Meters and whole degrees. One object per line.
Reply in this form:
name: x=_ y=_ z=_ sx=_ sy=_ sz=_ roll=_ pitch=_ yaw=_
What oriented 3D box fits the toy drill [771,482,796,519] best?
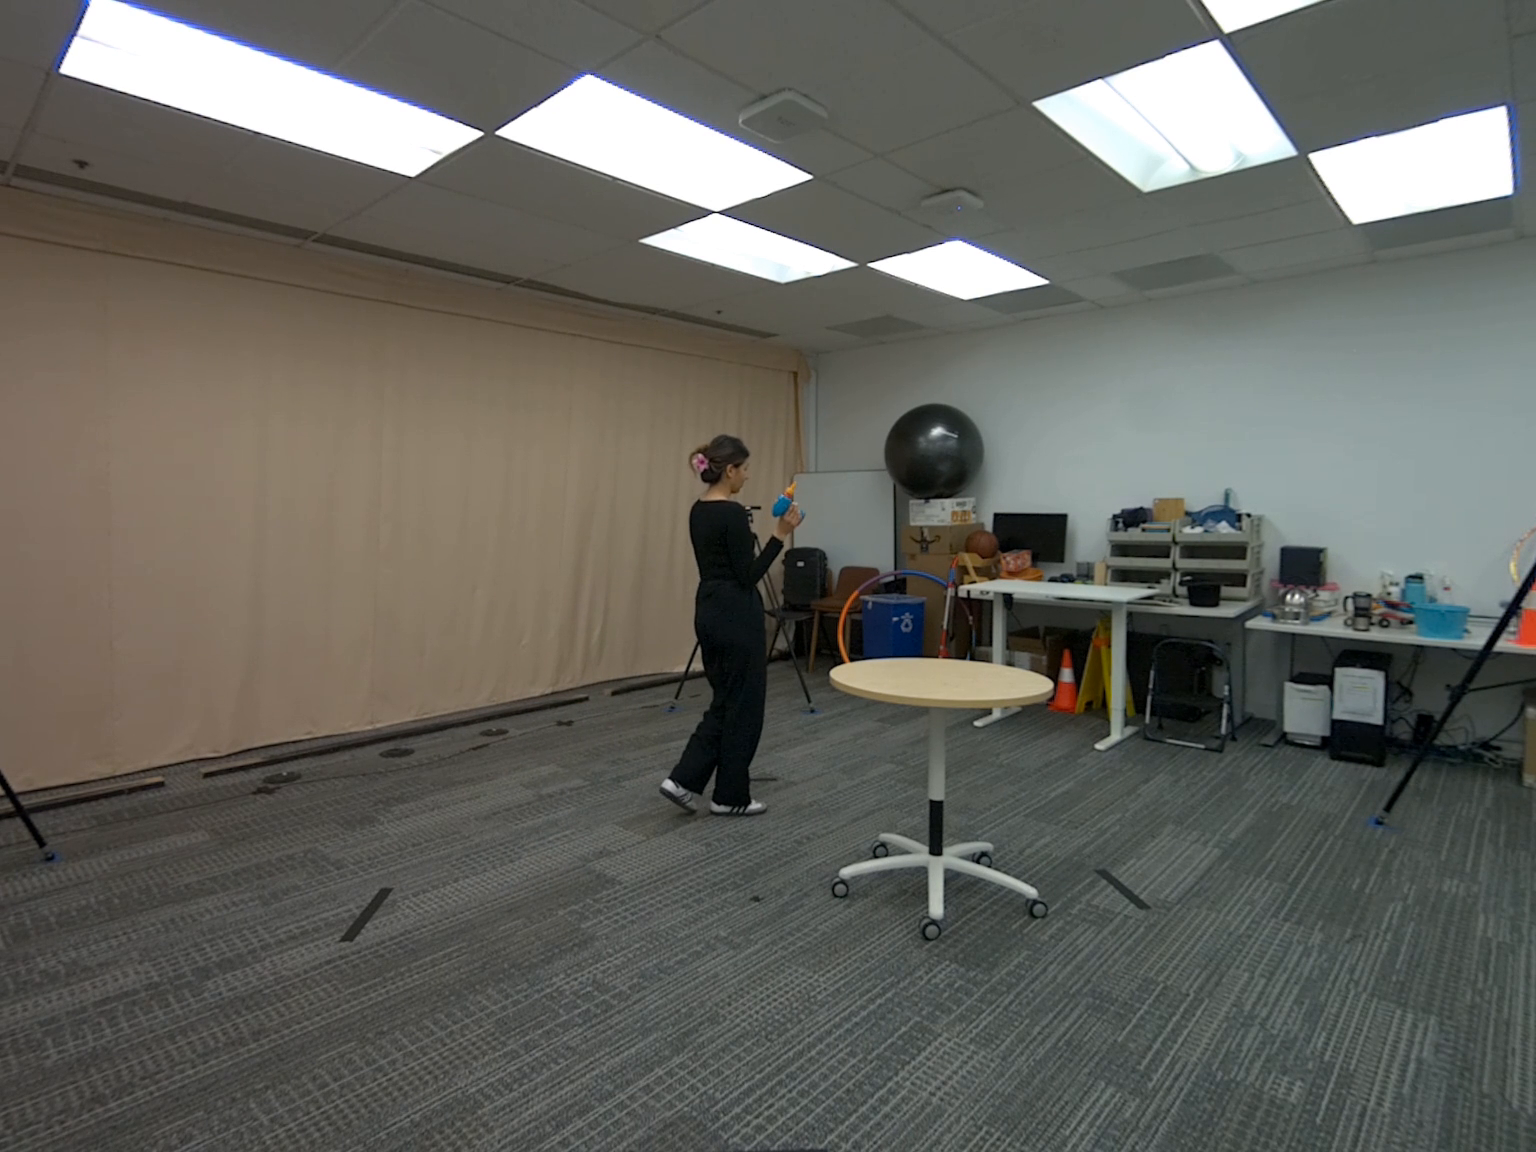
toy drill: x=0.100 y=-0.305 z=3.558 sx=0.143 sy=0.170 sz=0.062 roll=31 pitch=3 yaw=-19
